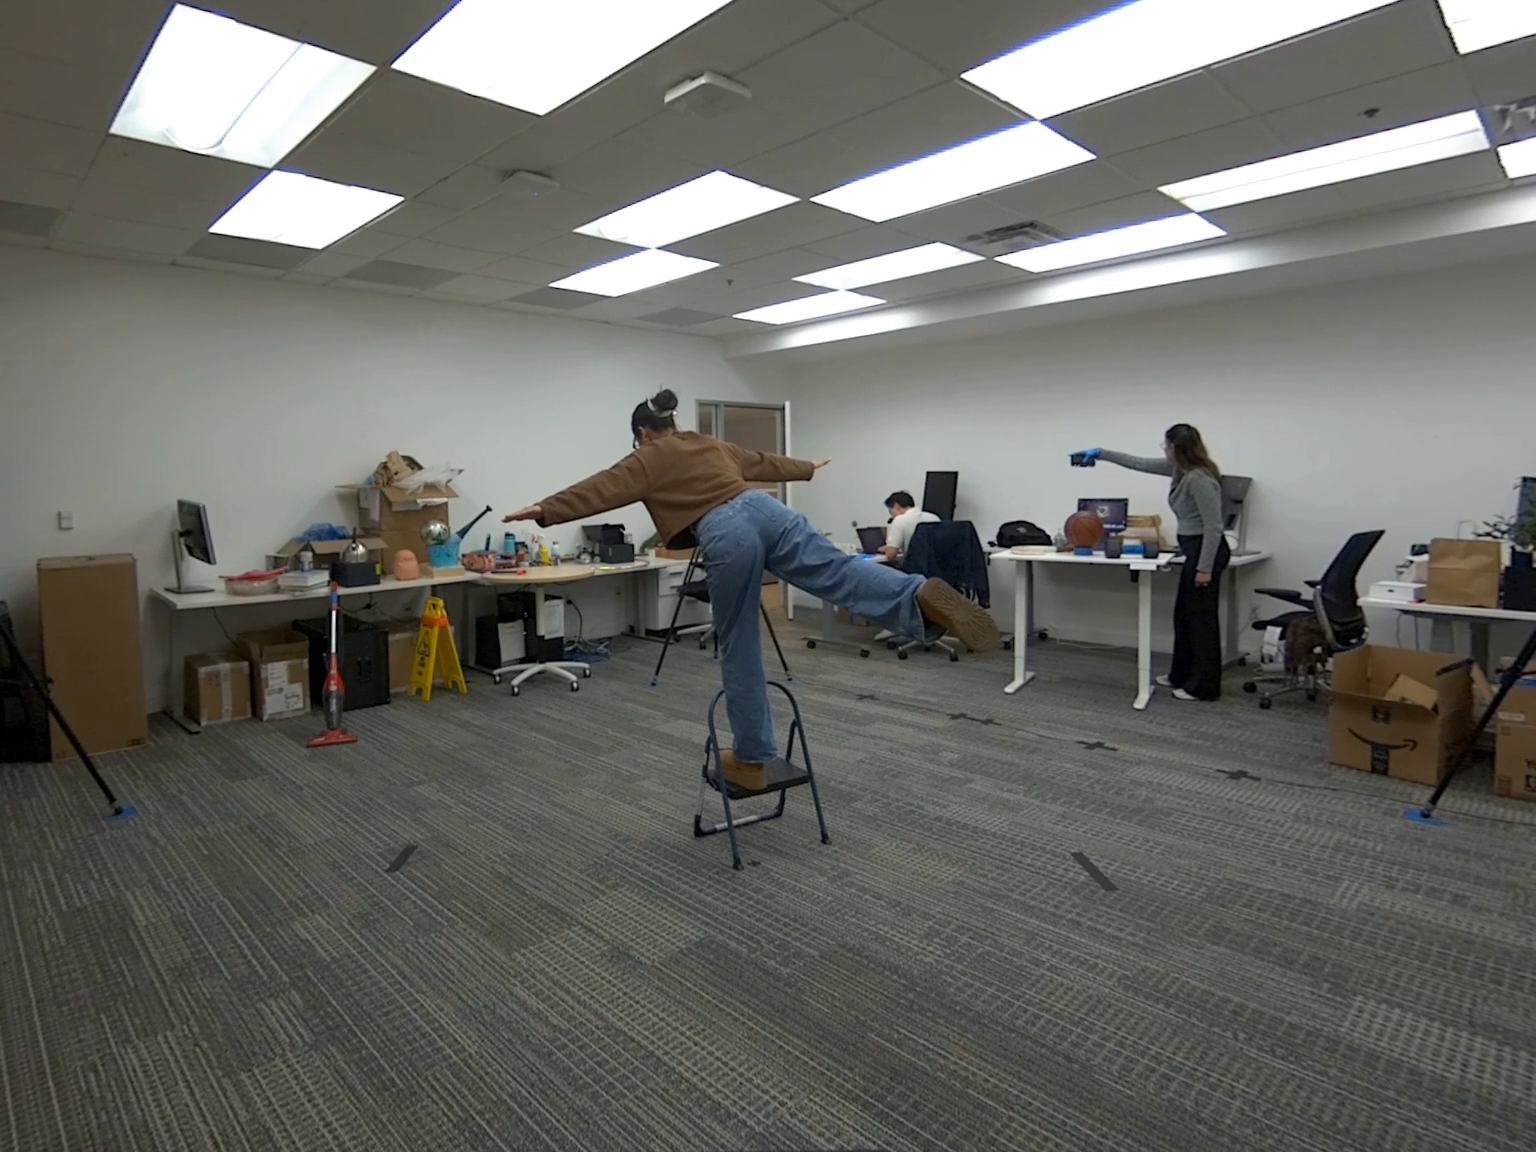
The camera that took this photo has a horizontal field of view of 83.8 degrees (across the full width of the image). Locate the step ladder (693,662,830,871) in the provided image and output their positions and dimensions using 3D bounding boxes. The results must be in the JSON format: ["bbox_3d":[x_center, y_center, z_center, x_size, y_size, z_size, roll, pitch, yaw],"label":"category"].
[{"bbox_3d":[-0.031,0.721,3.292,0.420,0.604,0.359,-4,5,-33],"label":"step ladder"}]
